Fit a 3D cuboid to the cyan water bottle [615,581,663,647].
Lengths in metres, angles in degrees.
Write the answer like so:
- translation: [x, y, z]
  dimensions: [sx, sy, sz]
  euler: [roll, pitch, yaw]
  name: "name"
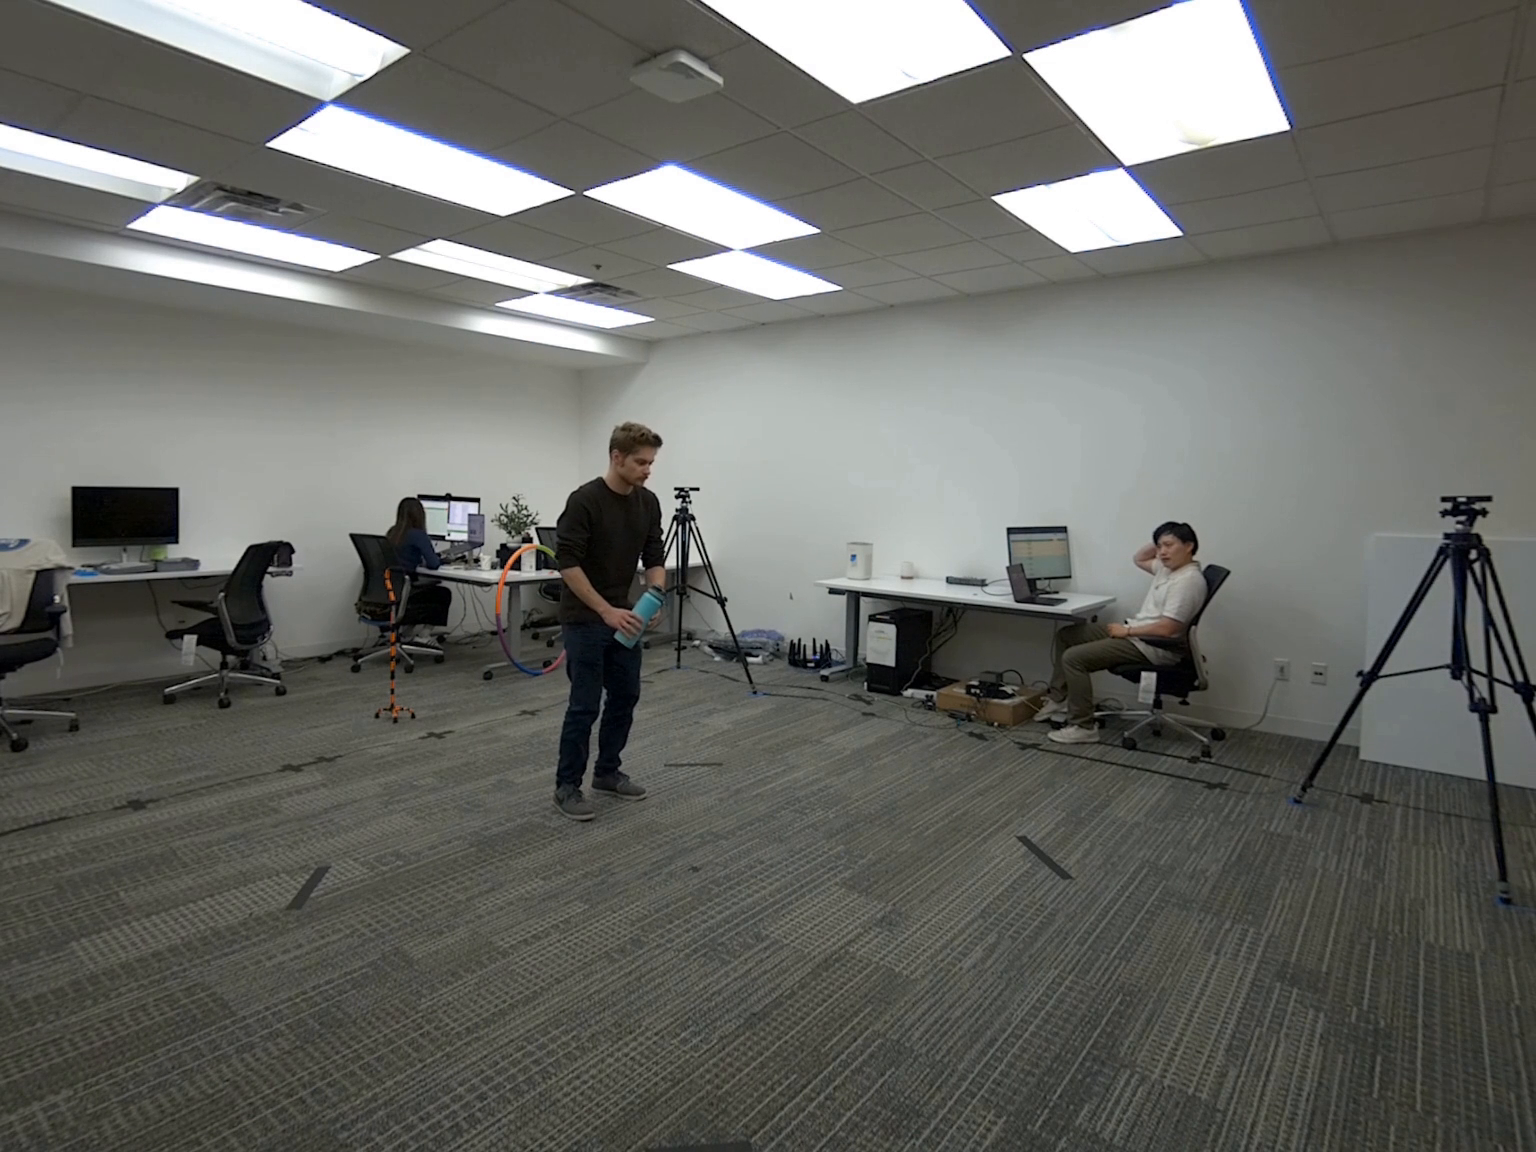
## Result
- translation: [-0.562, 0.168, 3.496]
  dimensions: [0.093, 0.284, 0.091]
  euler: [34, -9, 4]
  name: "cyan water bottle"
